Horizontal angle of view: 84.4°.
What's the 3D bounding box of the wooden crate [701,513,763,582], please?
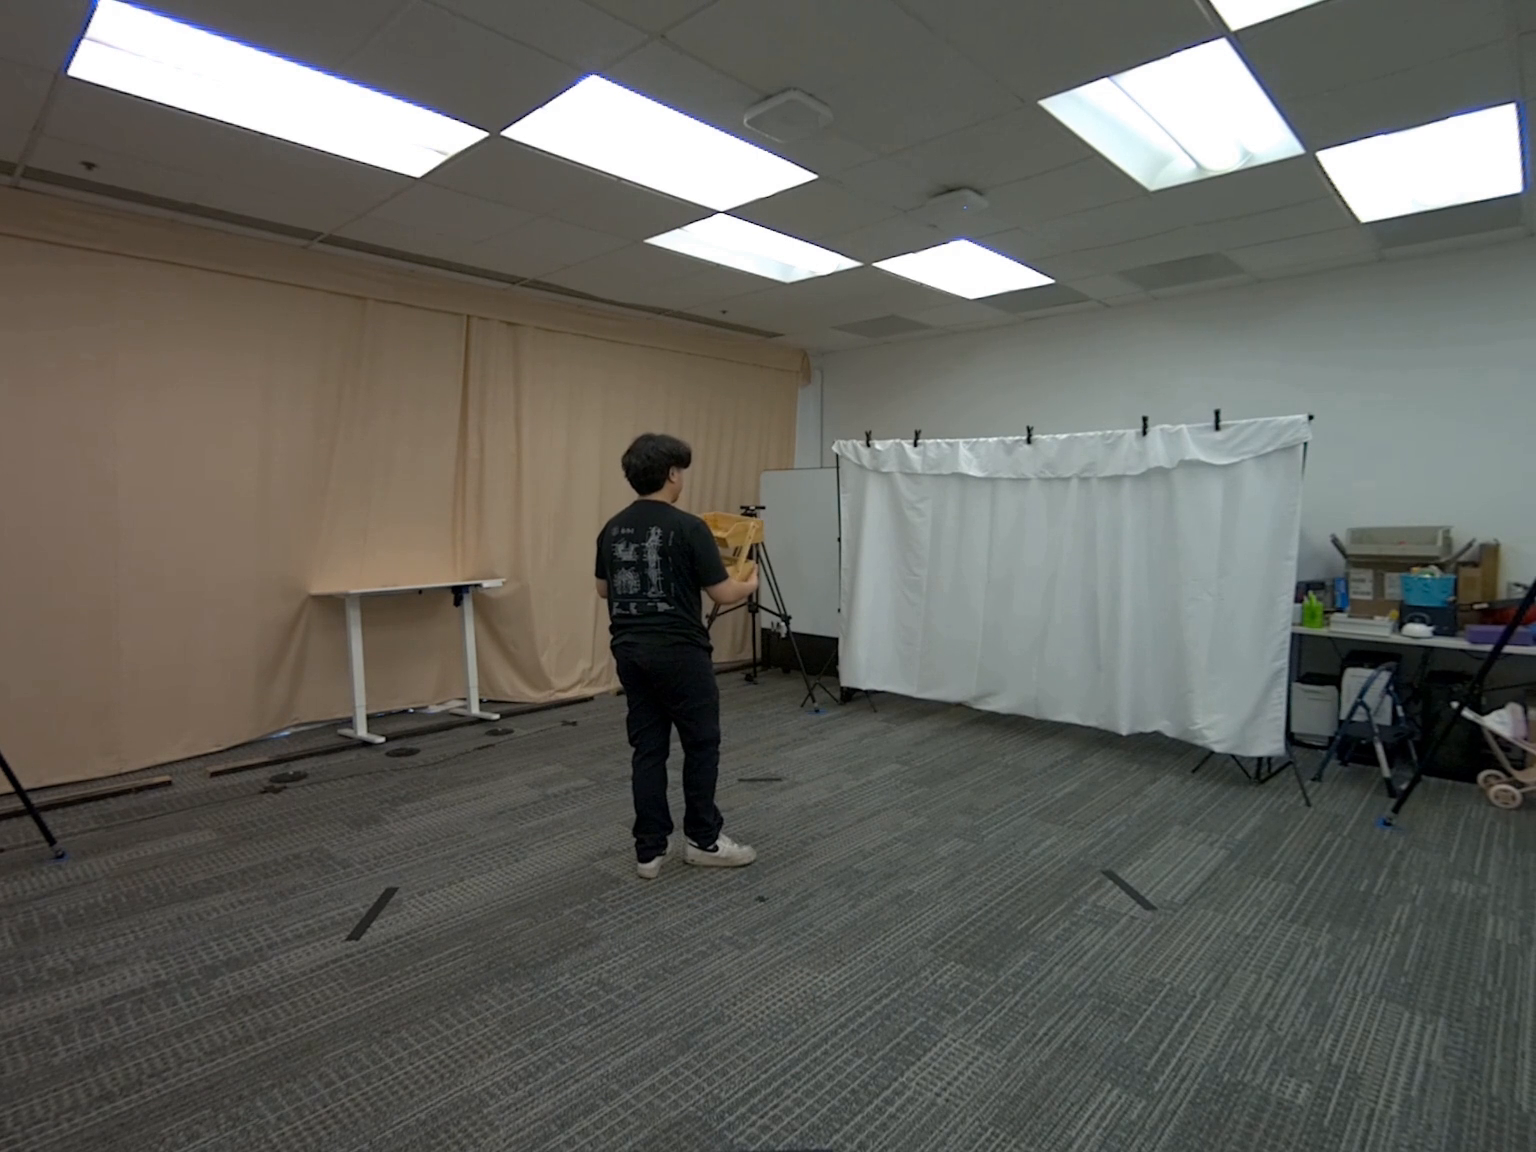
[{"bbox_3d":[-0.232,-0.108,3.502,0.294,0.271,0.336,-12,16,-41],"label":"wooden crate"}]
